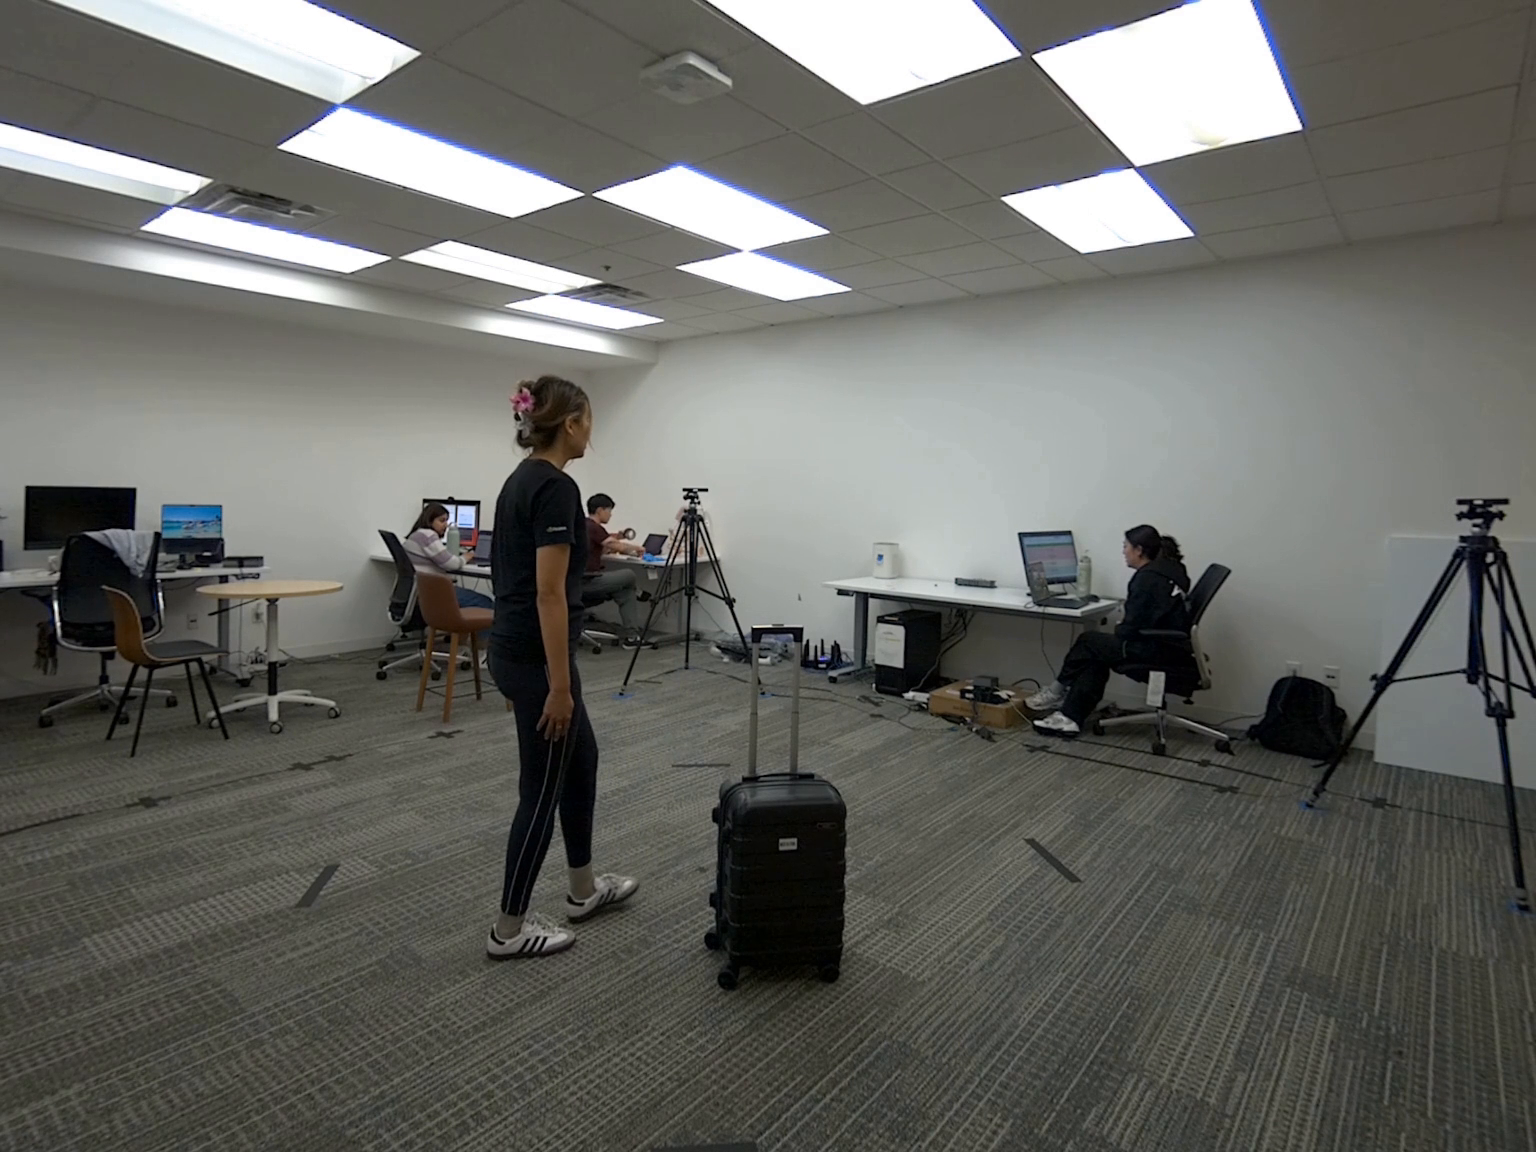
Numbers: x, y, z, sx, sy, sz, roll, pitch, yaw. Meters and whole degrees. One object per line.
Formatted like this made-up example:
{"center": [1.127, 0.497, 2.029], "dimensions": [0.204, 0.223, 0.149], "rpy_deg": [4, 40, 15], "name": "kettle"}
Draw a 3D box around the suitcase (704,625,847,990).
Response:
{"center": [0.039, 0.668, 2.468], "dimensions": [0.380, 0.975, 0.261], "rpy_deg": [3, 5, -11], "name": "suitcase"}
